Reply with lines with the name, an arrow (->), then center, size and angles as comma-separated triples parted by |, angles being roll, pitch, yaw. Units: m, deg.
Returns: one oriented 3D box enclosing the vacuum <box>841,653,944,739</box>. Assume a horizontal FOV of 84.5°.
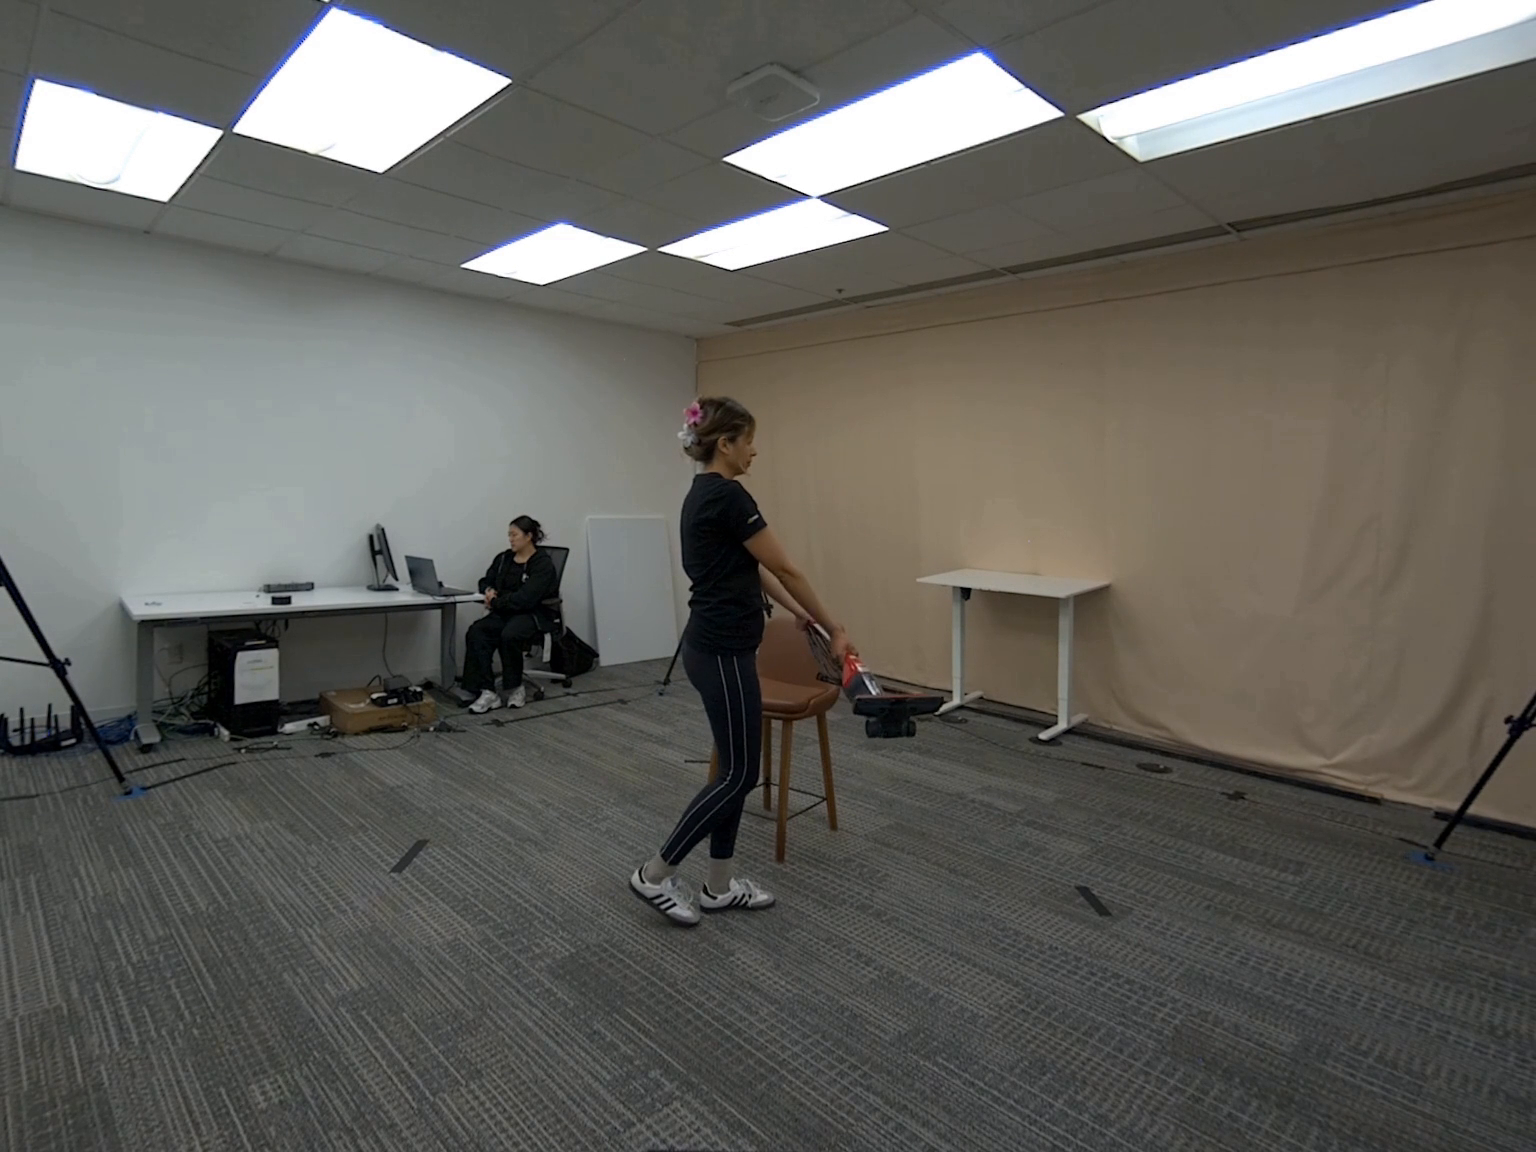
vacuum -> 0.239, 0.303, 2.779 | 0.250, 0.143, 1.066 | 0, 10, -13
